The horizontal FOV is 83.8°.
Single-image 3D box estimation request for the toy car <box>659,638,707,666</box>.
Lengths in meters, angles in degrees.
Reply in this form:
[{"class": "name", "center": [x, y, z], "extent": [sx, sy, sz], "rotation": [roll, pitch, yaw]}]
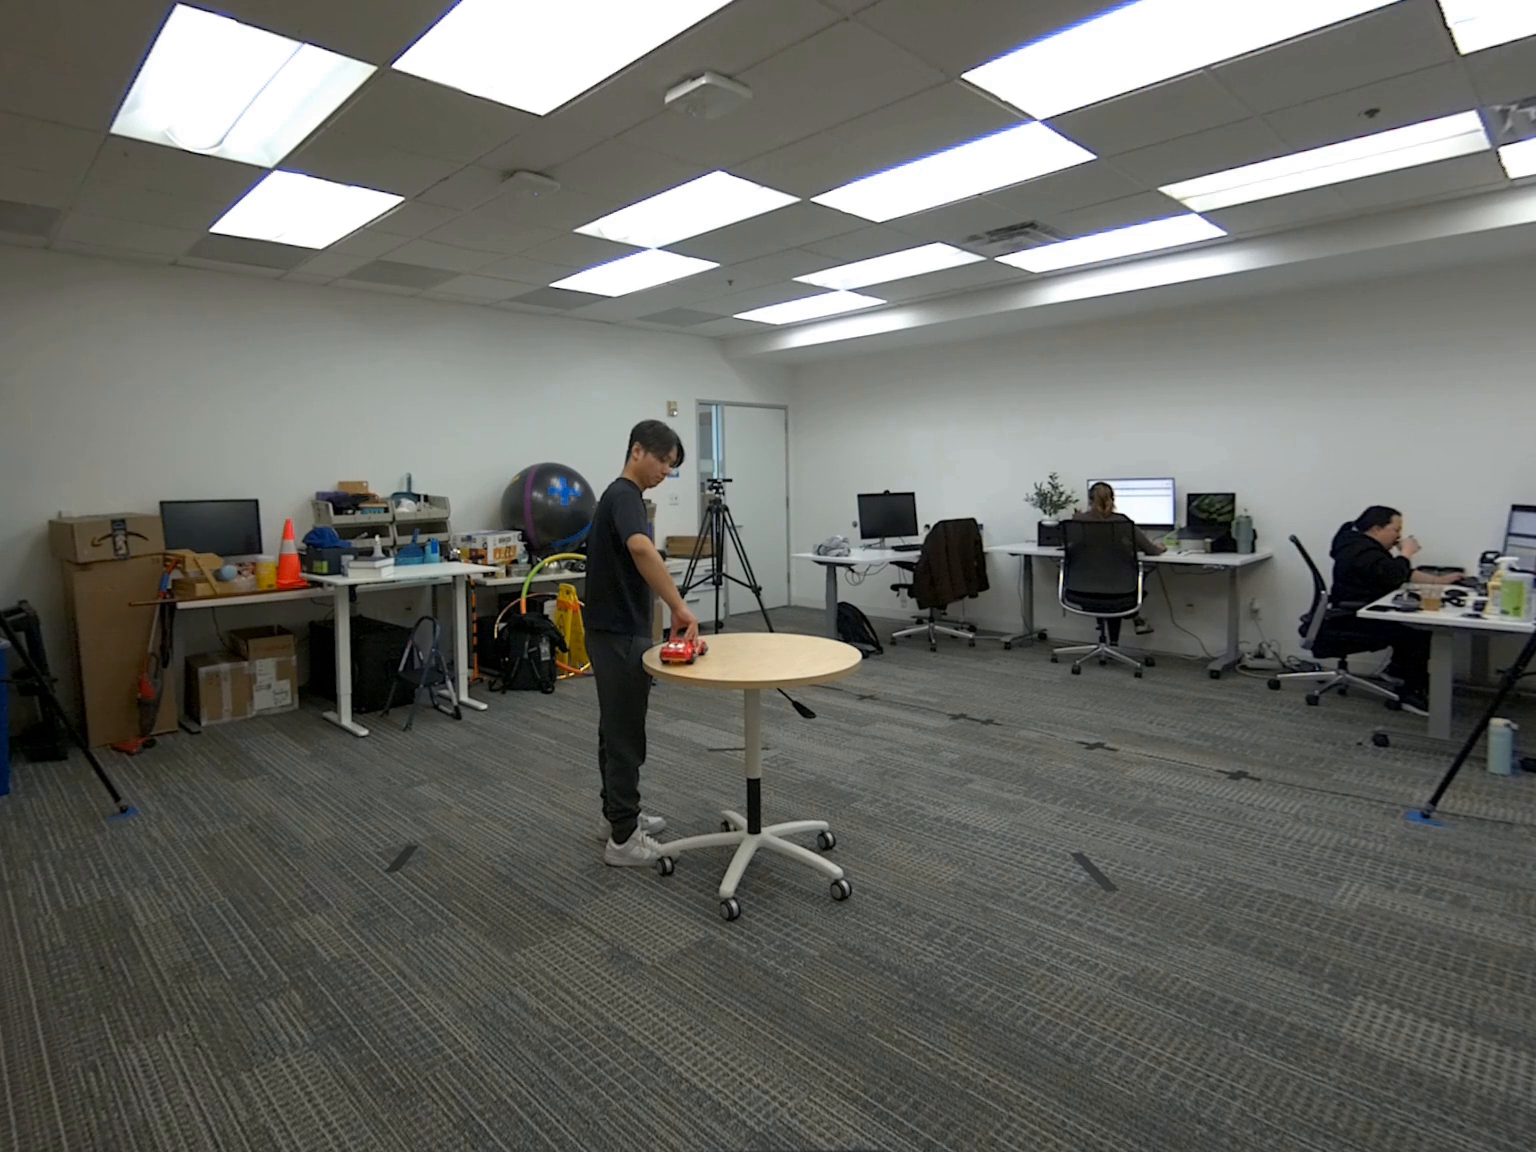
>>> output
[{"class": "toy car", "center": [-0.289, 0.258, 2.915], "extent": [0.132, 0.083, 0.249], "rotation": [2, -5, 14]}]
